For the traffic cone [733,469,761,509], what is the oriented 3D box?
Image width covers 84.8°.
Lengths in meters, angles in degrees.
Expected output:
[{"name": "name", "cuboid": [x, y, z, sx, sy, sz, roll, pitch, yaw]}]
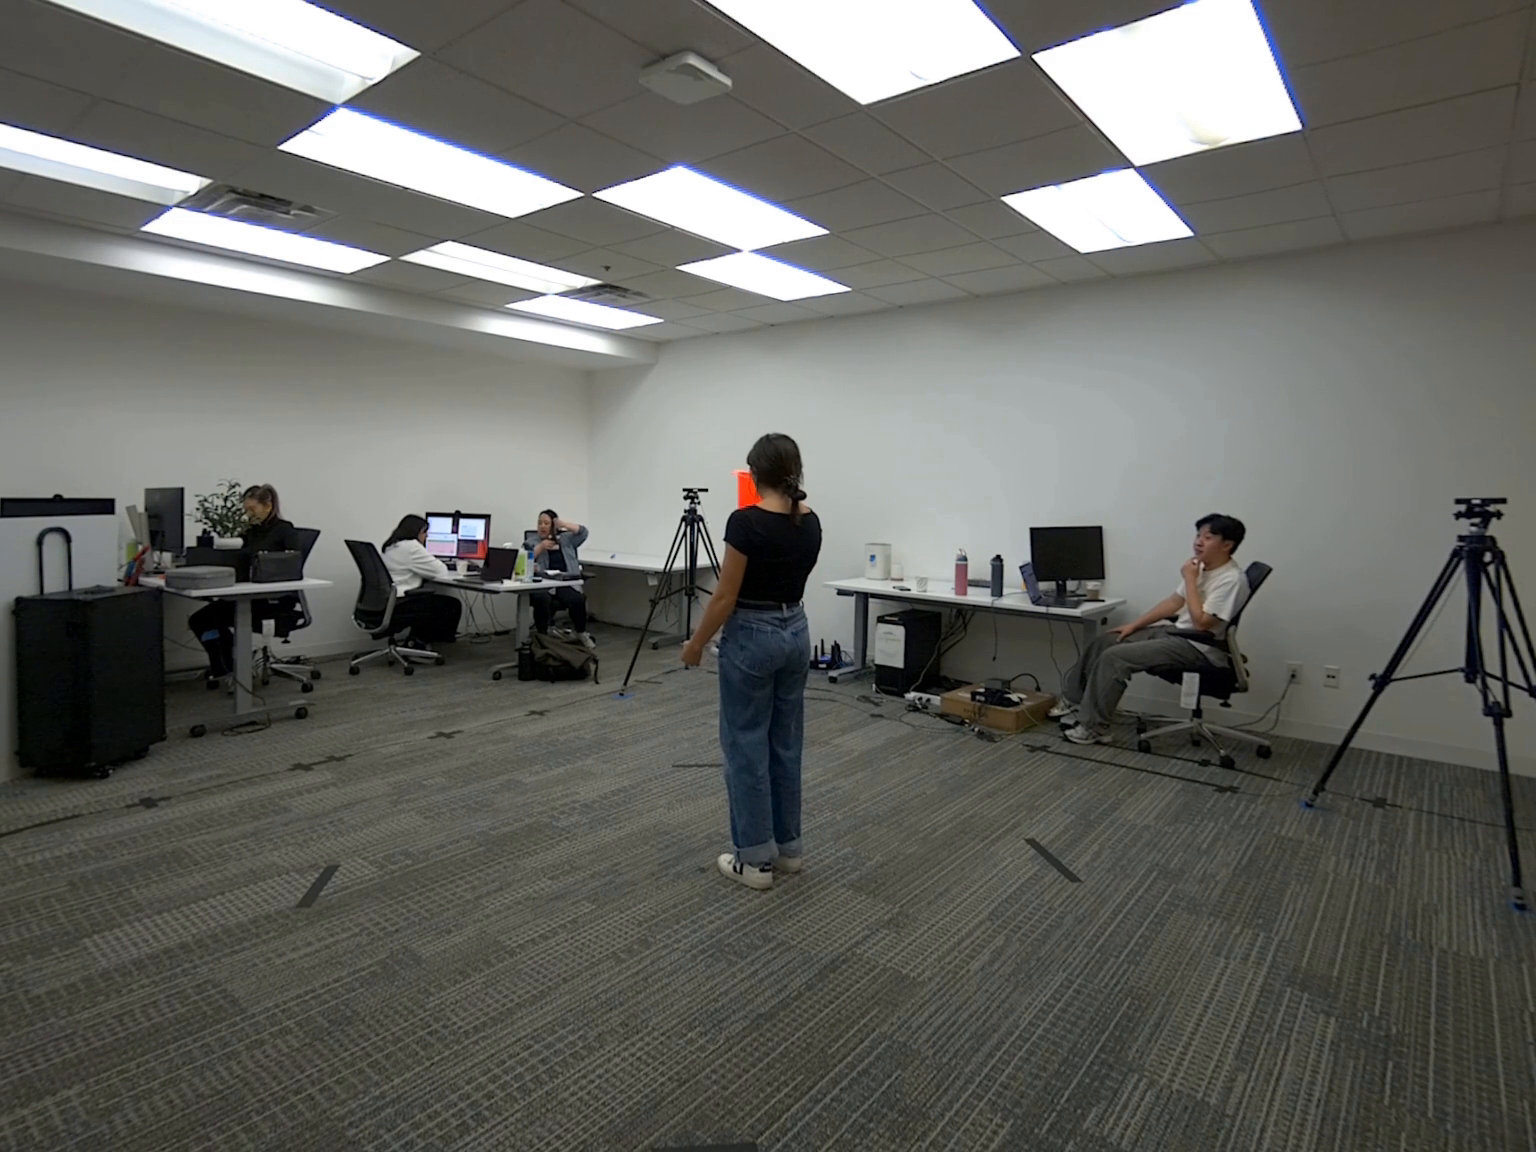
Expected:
[{"name": "traffic cone", "cuboid": [-0.071, -0.229, 3.471, 0.205, 0.380, 0.205, 10, 12, 1]}]
